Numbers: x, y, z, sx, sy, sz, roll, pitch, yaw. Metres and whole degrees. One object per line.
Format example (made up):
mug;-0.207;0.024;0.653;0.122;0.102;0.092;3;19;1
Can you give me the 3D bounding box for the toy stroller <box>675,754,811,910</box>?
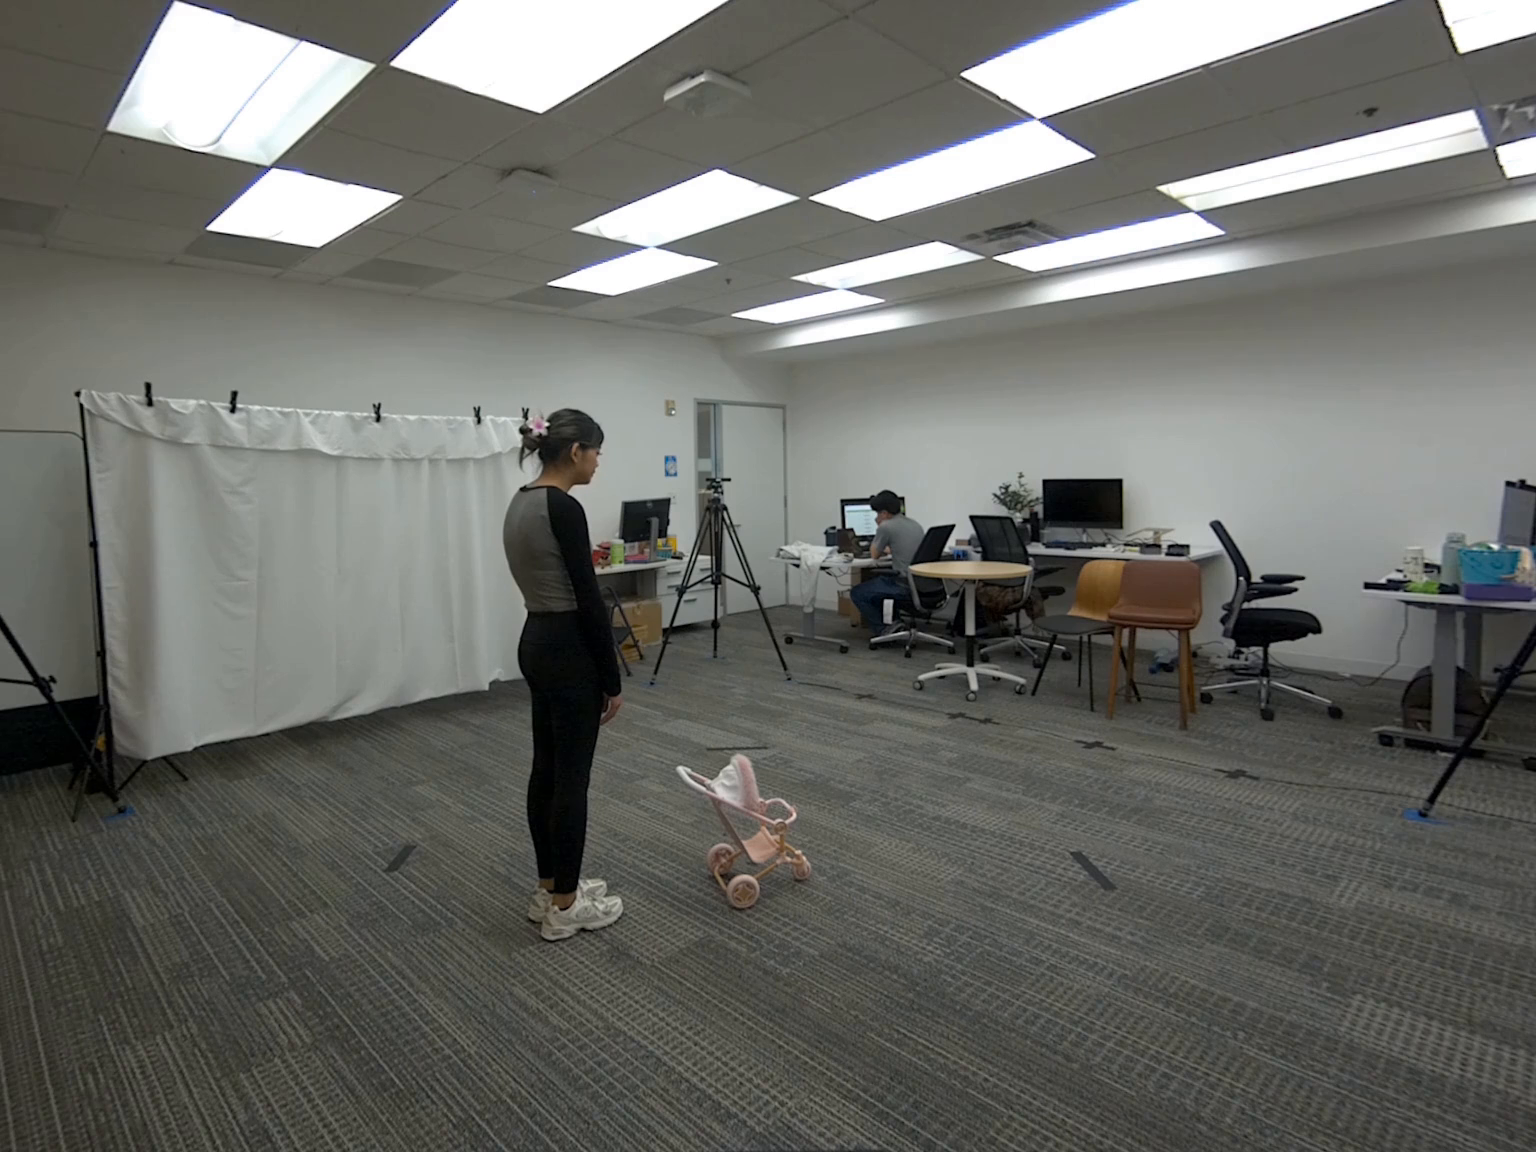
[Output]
toy stroller;-0.060;0.840;2.899;0.339;0.530;0.286;-19;8;-12
